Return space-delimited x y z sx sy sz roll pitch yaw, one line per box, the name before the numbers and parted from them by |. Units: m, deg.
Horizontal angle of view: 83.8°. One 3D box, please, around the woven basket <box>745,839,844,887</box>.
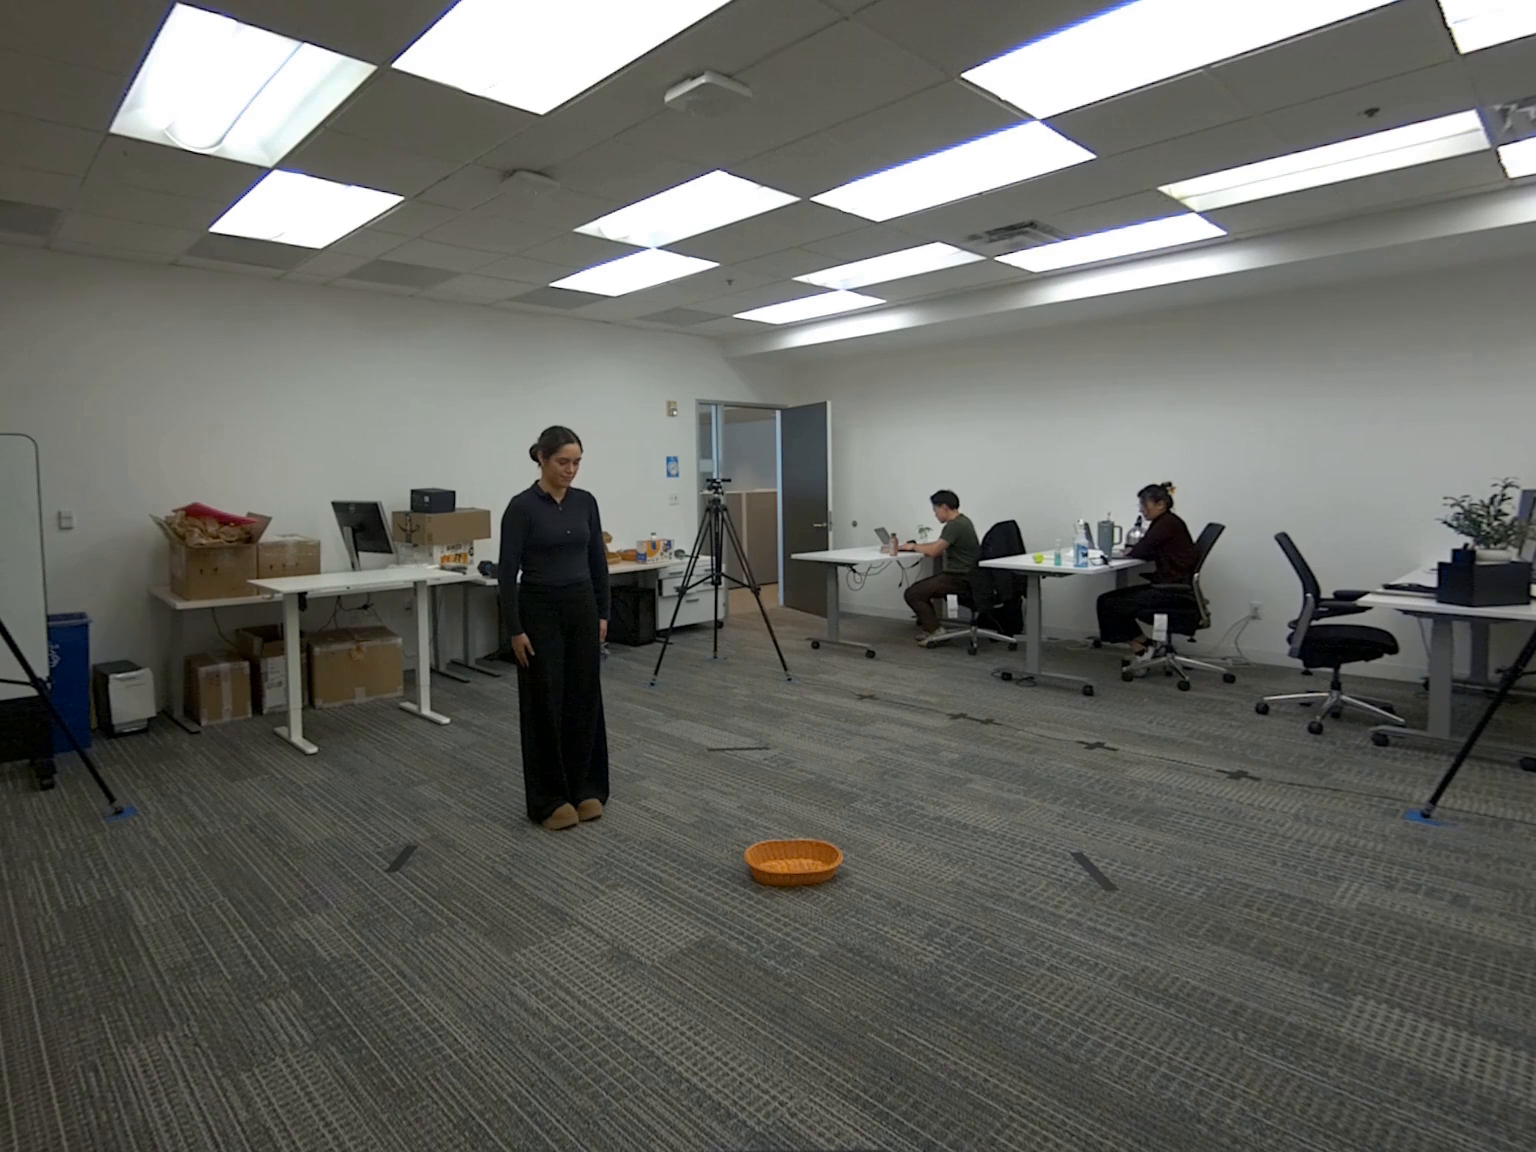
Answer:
woven basket | 0.090 1.014 3.008 0.349 0.073 0.255 -1 7 -4
